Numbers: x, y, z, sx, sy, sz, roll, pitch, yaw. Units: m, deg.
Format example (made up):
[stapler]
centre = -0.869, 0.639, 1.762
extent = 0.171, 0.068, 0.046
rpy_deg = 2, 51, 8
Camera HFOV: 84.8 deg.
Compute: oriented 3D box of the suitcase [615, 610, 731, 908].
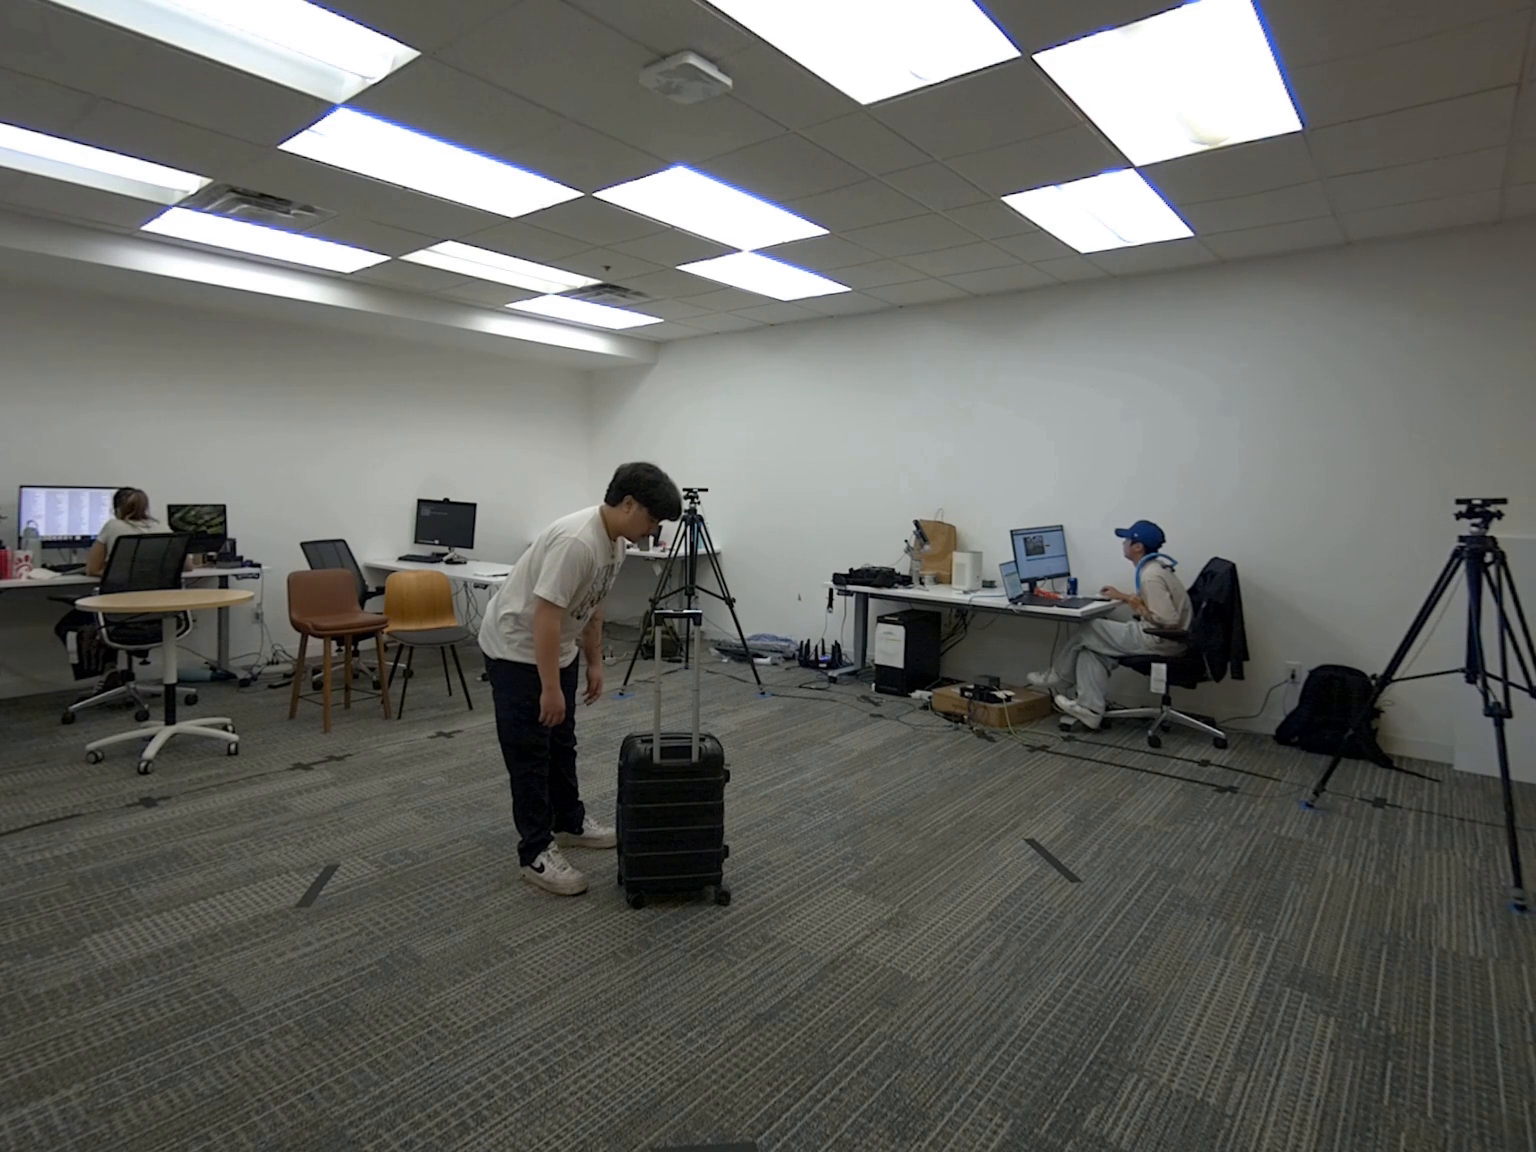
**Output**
[suitcase]
centre = -0.339, 0.609, 2.911
extent = 0.380, 0.978, 0.259
rpy_deg = 1, 0, -9
